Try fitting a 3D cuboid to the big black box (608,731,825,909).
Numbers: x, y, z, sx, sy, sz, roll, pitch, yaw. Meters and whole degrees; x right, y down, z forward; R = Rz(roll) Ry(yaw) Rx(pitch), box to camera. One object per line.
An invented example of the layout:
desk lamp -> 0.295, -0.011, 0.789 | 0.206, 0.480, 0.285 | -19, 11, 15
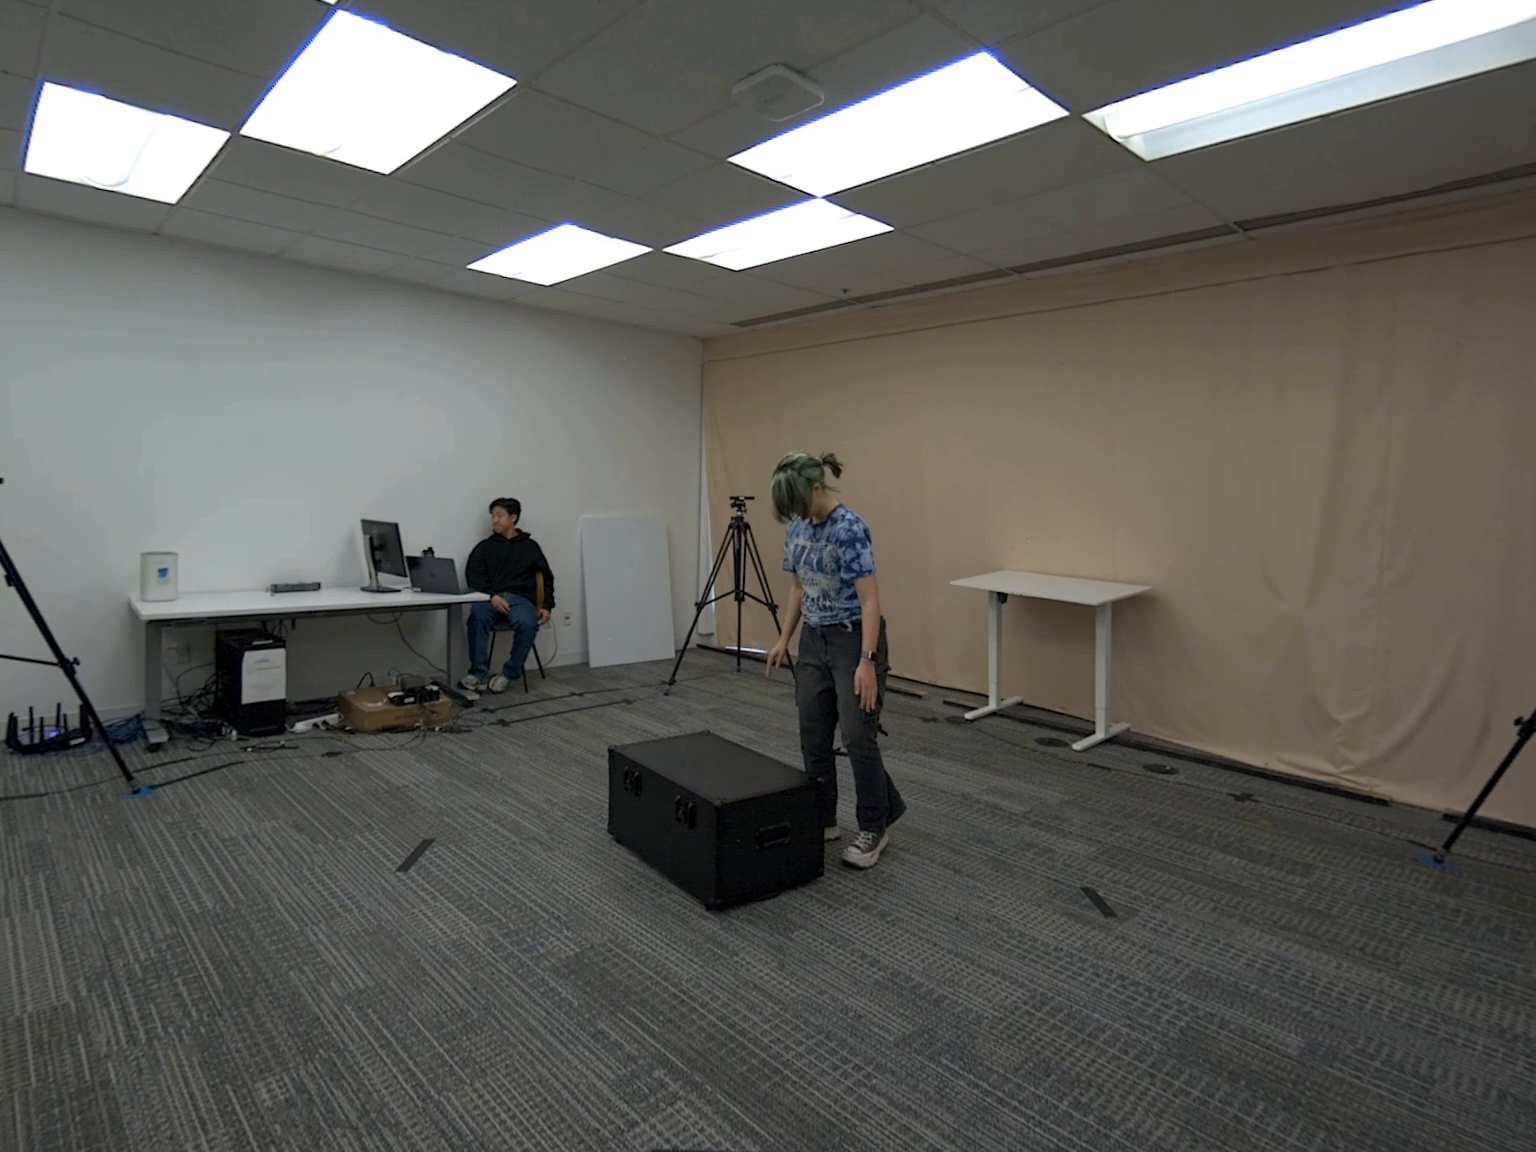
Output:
big black box -> -0.245, 0.899, 3.251 | 0.510, 0.395, 0.883 | -1, 6, -37
